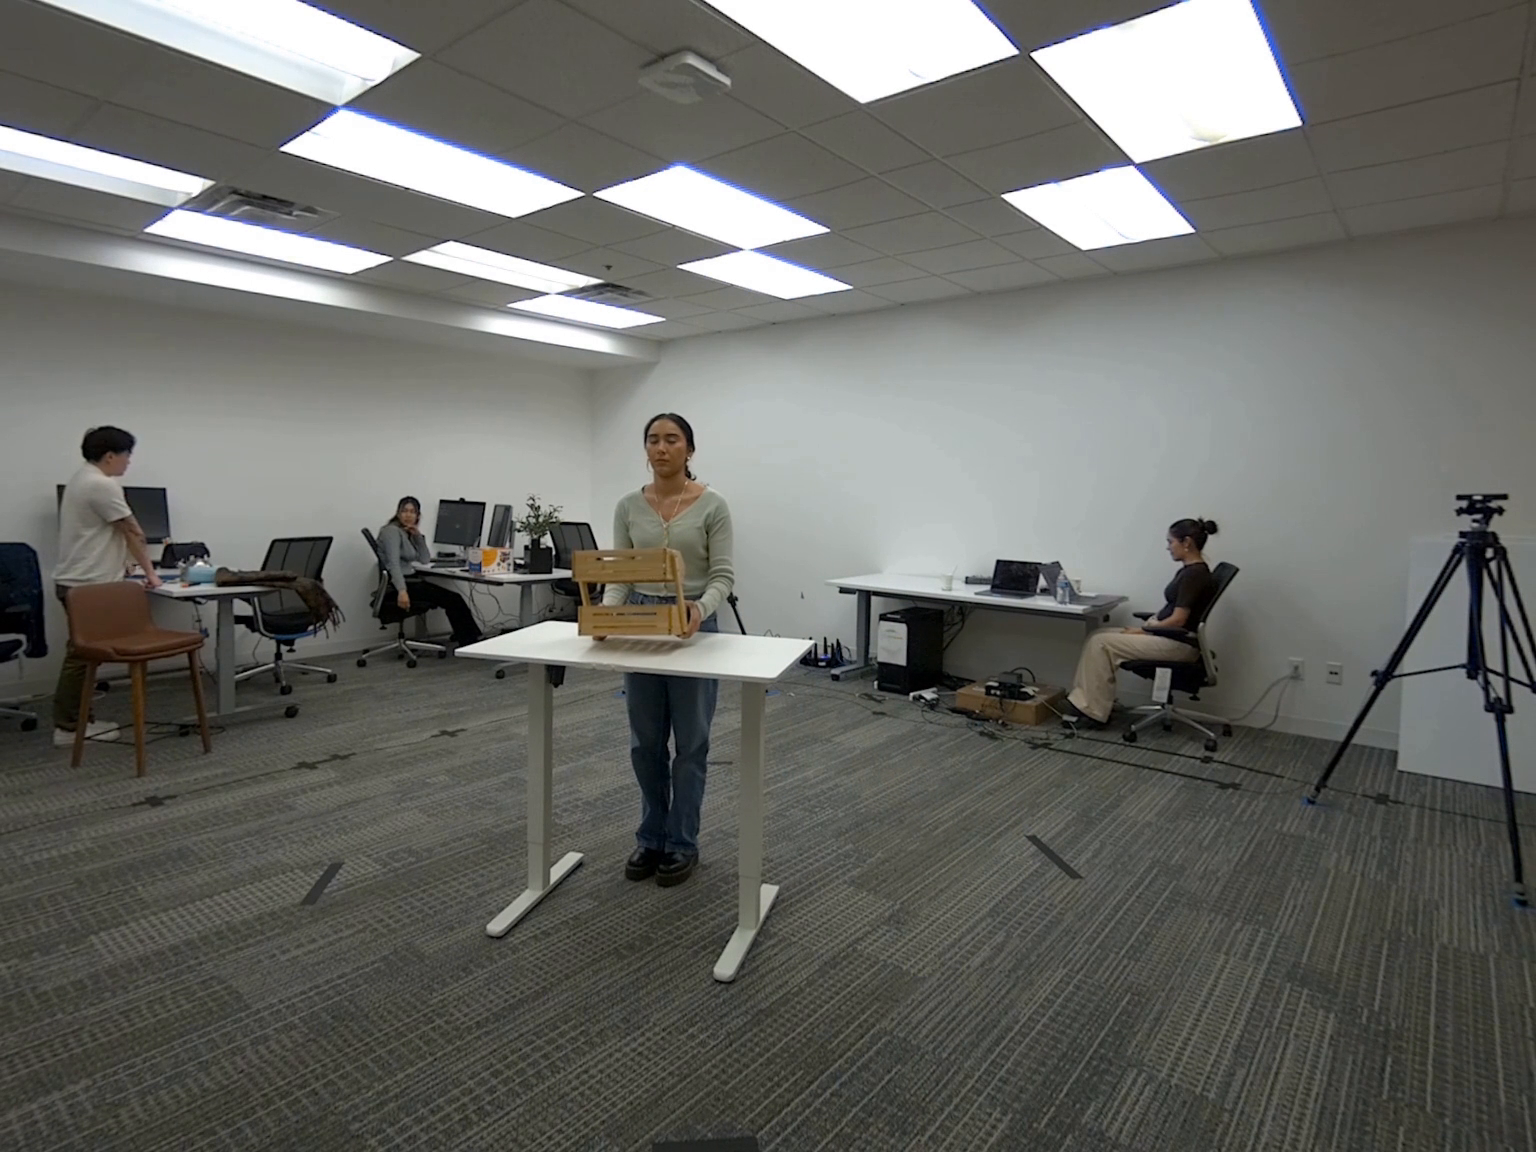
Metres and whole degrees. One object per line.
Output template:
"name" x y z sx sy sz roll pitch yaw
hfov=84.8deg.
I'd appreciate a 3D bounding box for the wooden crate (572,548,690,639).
"wooden crate" -0.437 0.050 2.693 0.328 0.275 0.297 -2 -5 11
